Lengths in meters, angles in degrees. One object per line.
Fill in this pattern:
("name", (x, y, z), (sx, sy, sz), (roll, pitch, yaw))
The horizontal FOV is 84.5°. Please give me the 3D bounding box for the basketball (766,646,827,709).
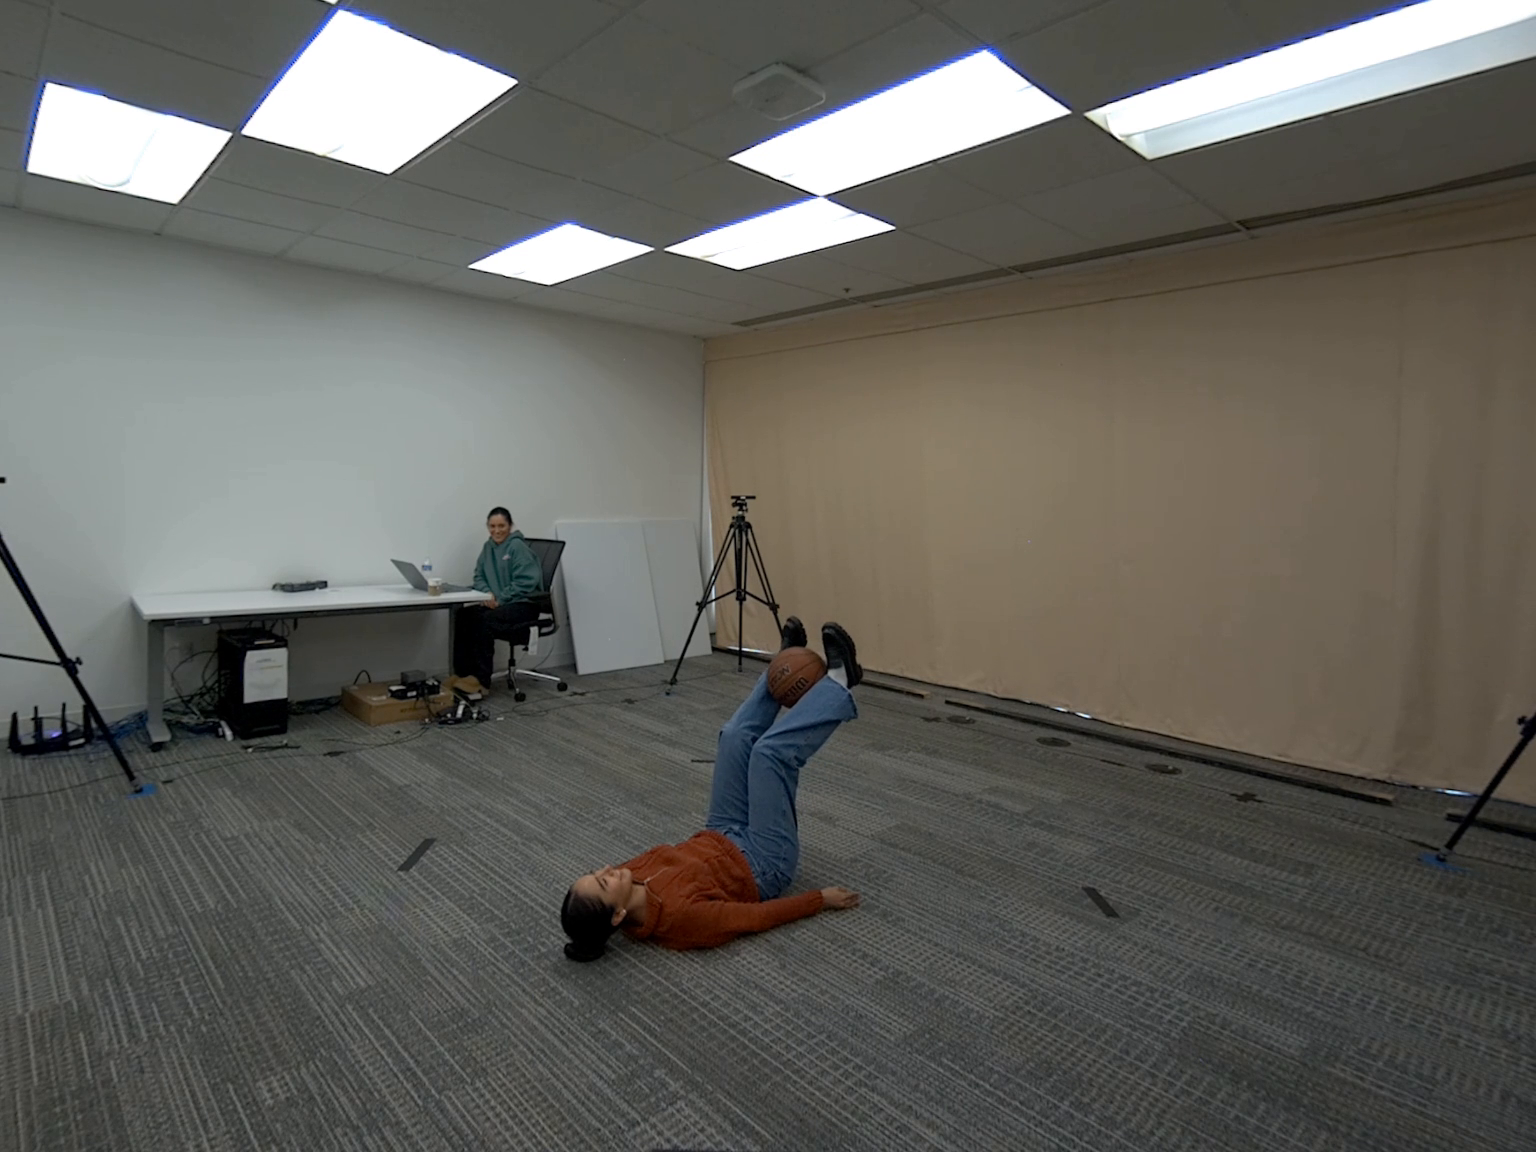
("basketball", (0.111, 0.386, 3.179), (0.236, 0.235, 0.237), (1, 4, -1))
